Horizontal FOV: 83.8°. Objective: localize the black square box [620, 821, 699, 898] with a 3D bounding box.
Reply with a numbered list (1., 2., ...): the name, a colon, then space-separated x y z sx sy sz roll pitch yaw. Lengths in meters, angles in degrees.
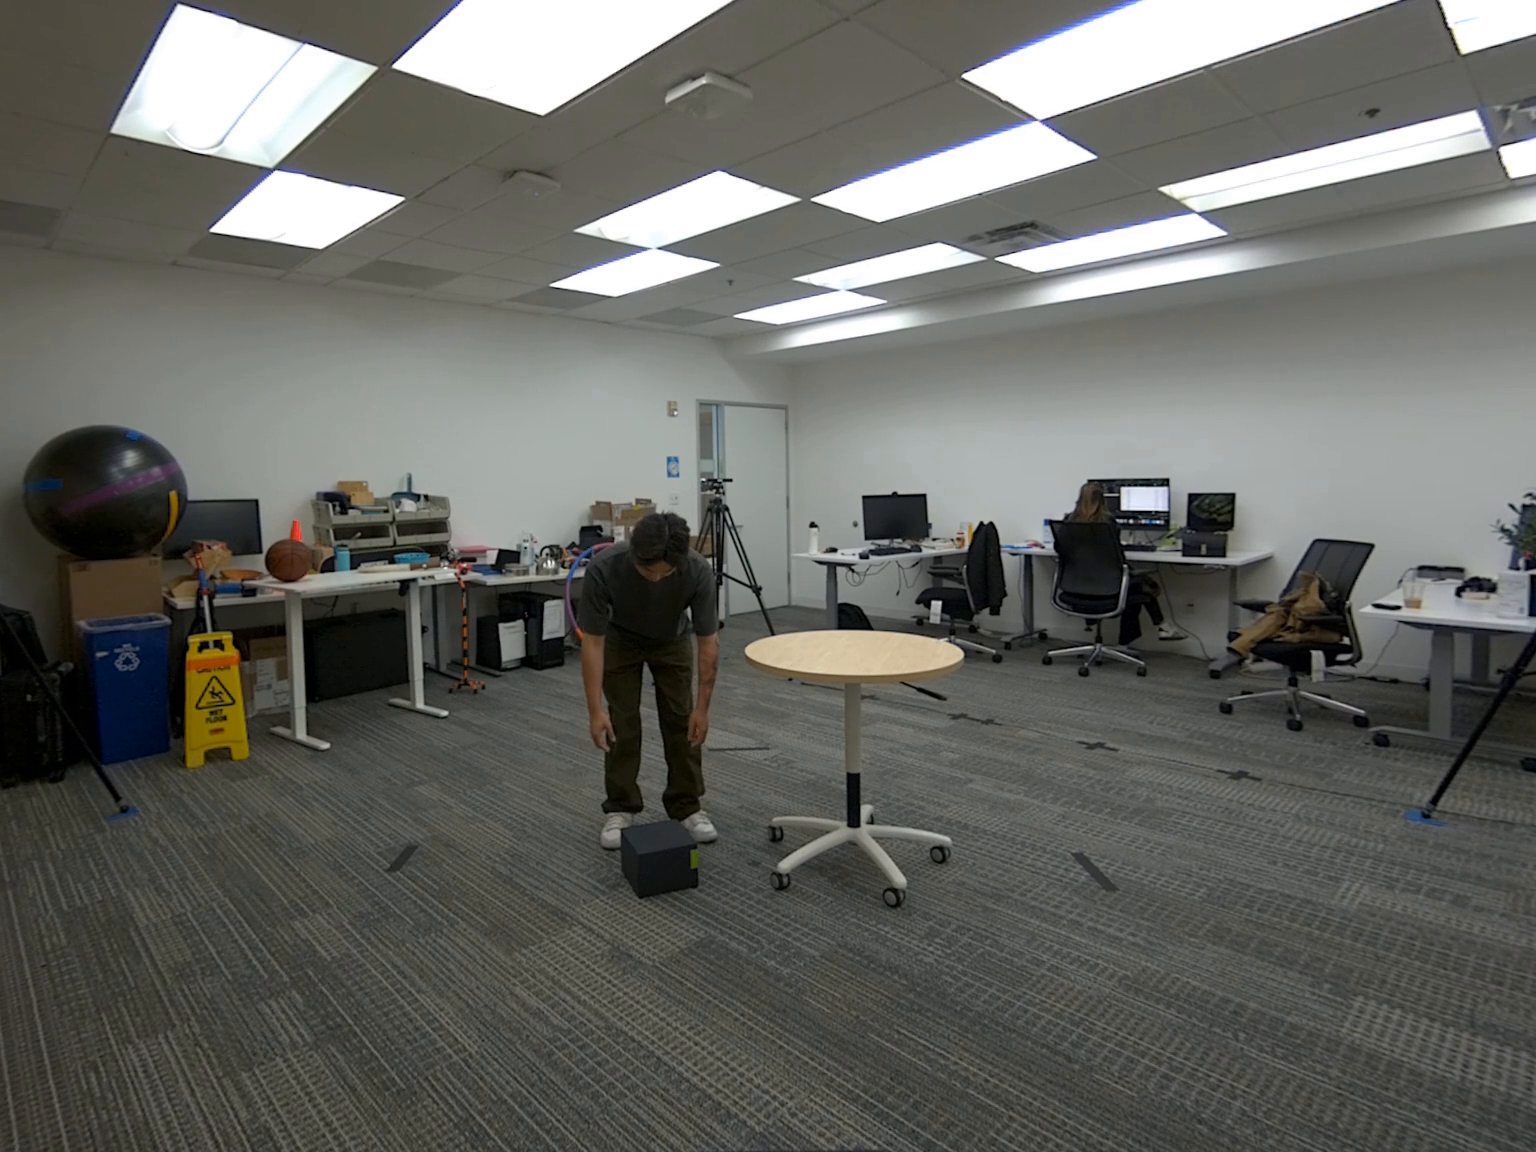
1. black square box: -0.384 0.981 2.989 0.212 0.155 0.234 -3 7 -24
